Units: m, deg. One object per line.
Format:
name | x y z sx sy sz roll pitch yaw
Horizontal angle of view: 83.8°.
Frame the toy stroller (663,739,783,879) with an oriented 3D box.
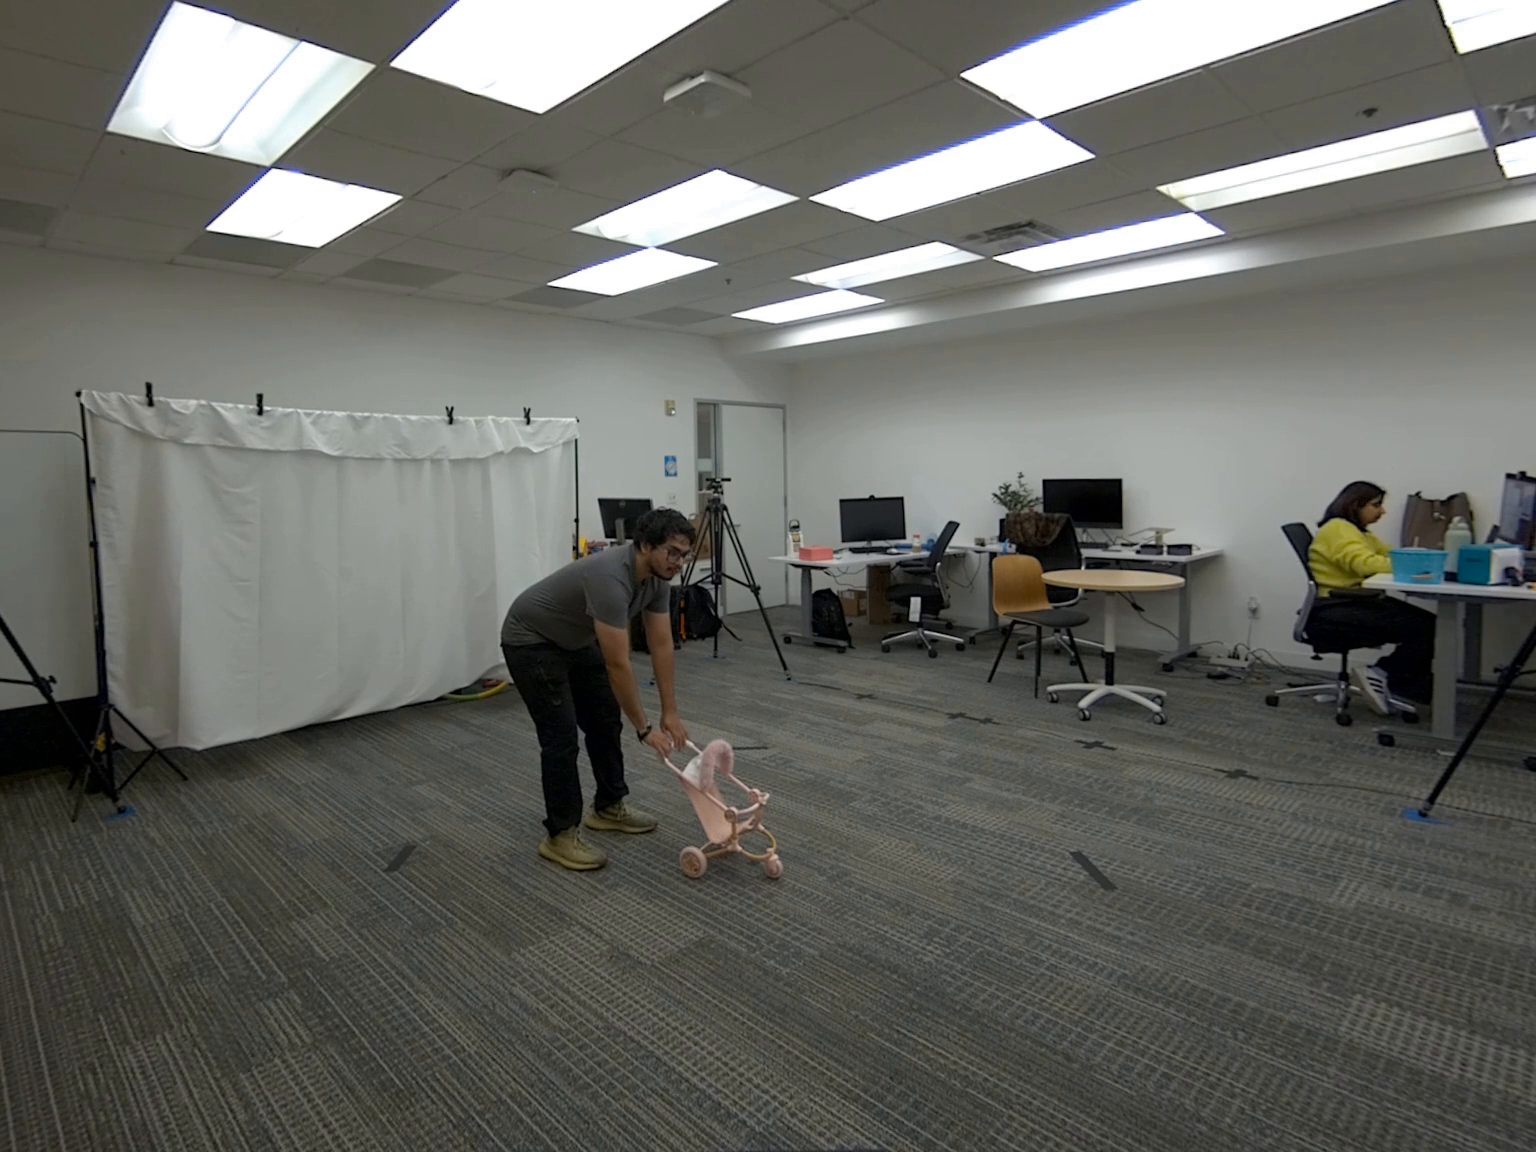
toy stroller | -0.157 0.828 3.058 0.347 0.538 0.275 -18 -5 31
